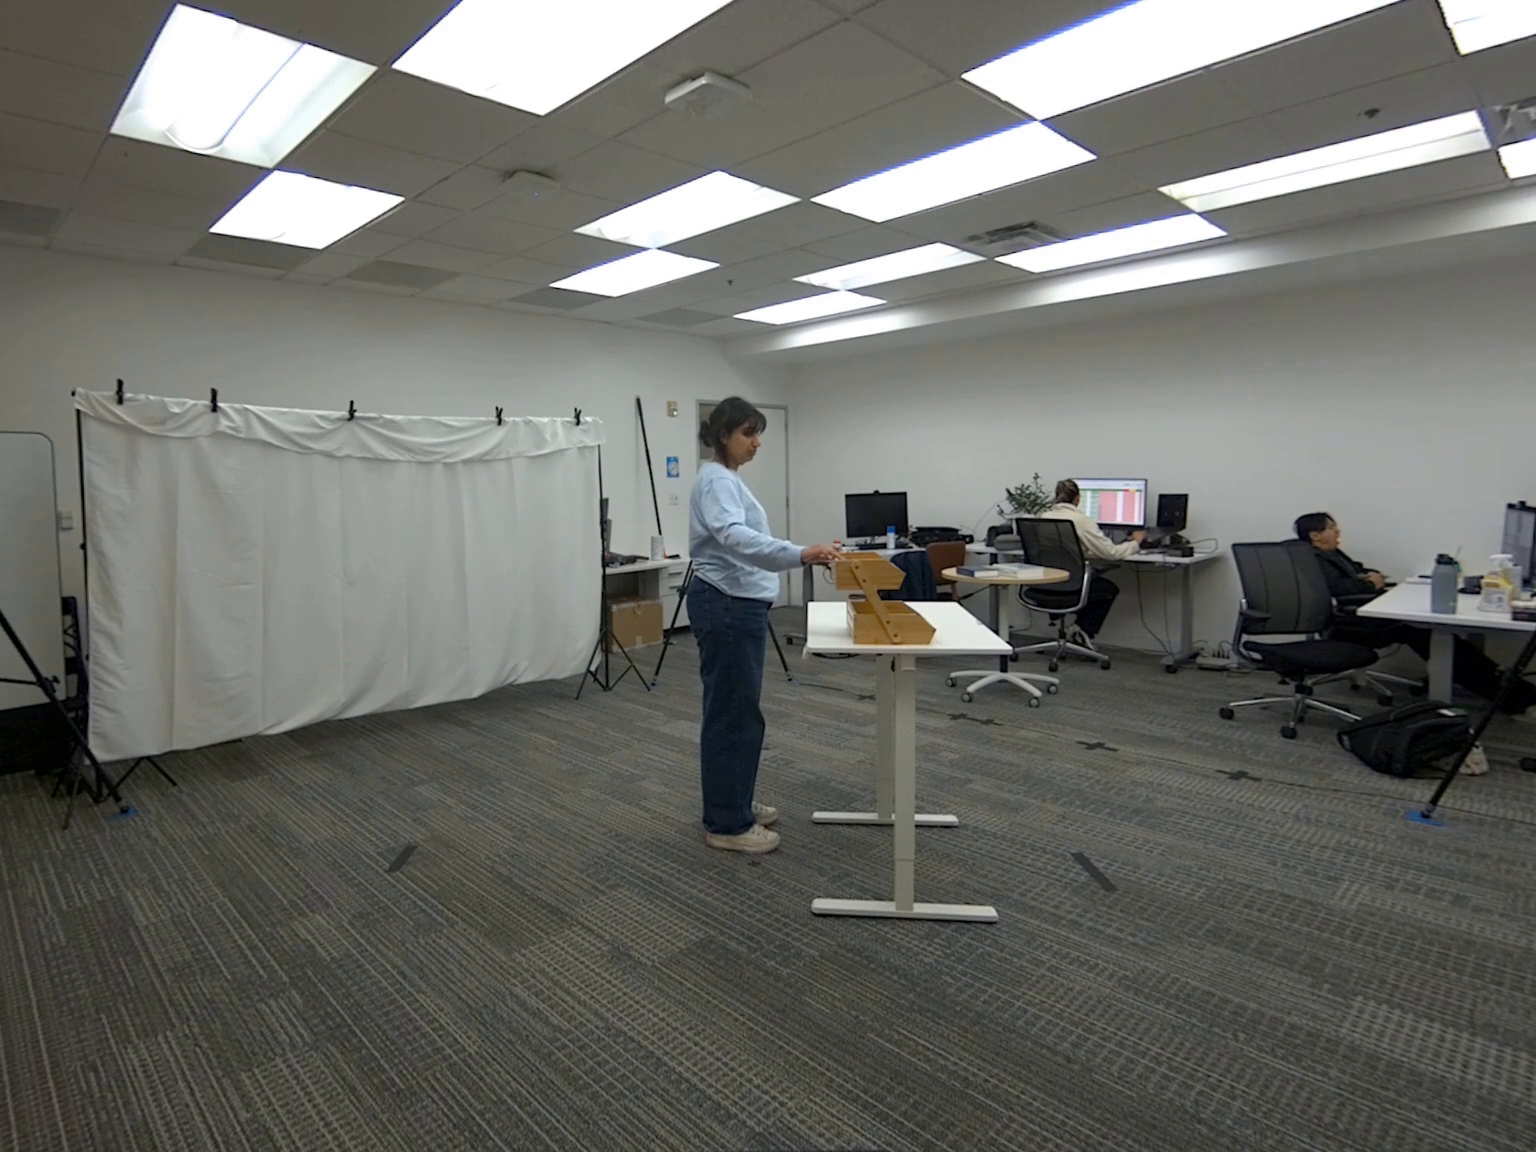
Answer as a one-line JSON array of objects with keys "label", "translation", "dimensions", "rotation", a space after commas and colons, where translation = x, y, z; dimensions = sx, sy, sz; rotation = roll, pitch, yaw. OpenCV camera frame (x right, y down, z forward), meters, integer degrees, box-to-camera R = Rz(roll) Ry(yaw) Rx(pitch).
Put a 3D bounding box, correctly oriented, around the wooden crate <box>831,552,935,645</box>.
[{"label": "wooden crate", "translation": [0.375, 0.061, 2.746], "dimensions": [0.303, 0.272, 0.324], "rotation": [-2, 4, 3]}]
